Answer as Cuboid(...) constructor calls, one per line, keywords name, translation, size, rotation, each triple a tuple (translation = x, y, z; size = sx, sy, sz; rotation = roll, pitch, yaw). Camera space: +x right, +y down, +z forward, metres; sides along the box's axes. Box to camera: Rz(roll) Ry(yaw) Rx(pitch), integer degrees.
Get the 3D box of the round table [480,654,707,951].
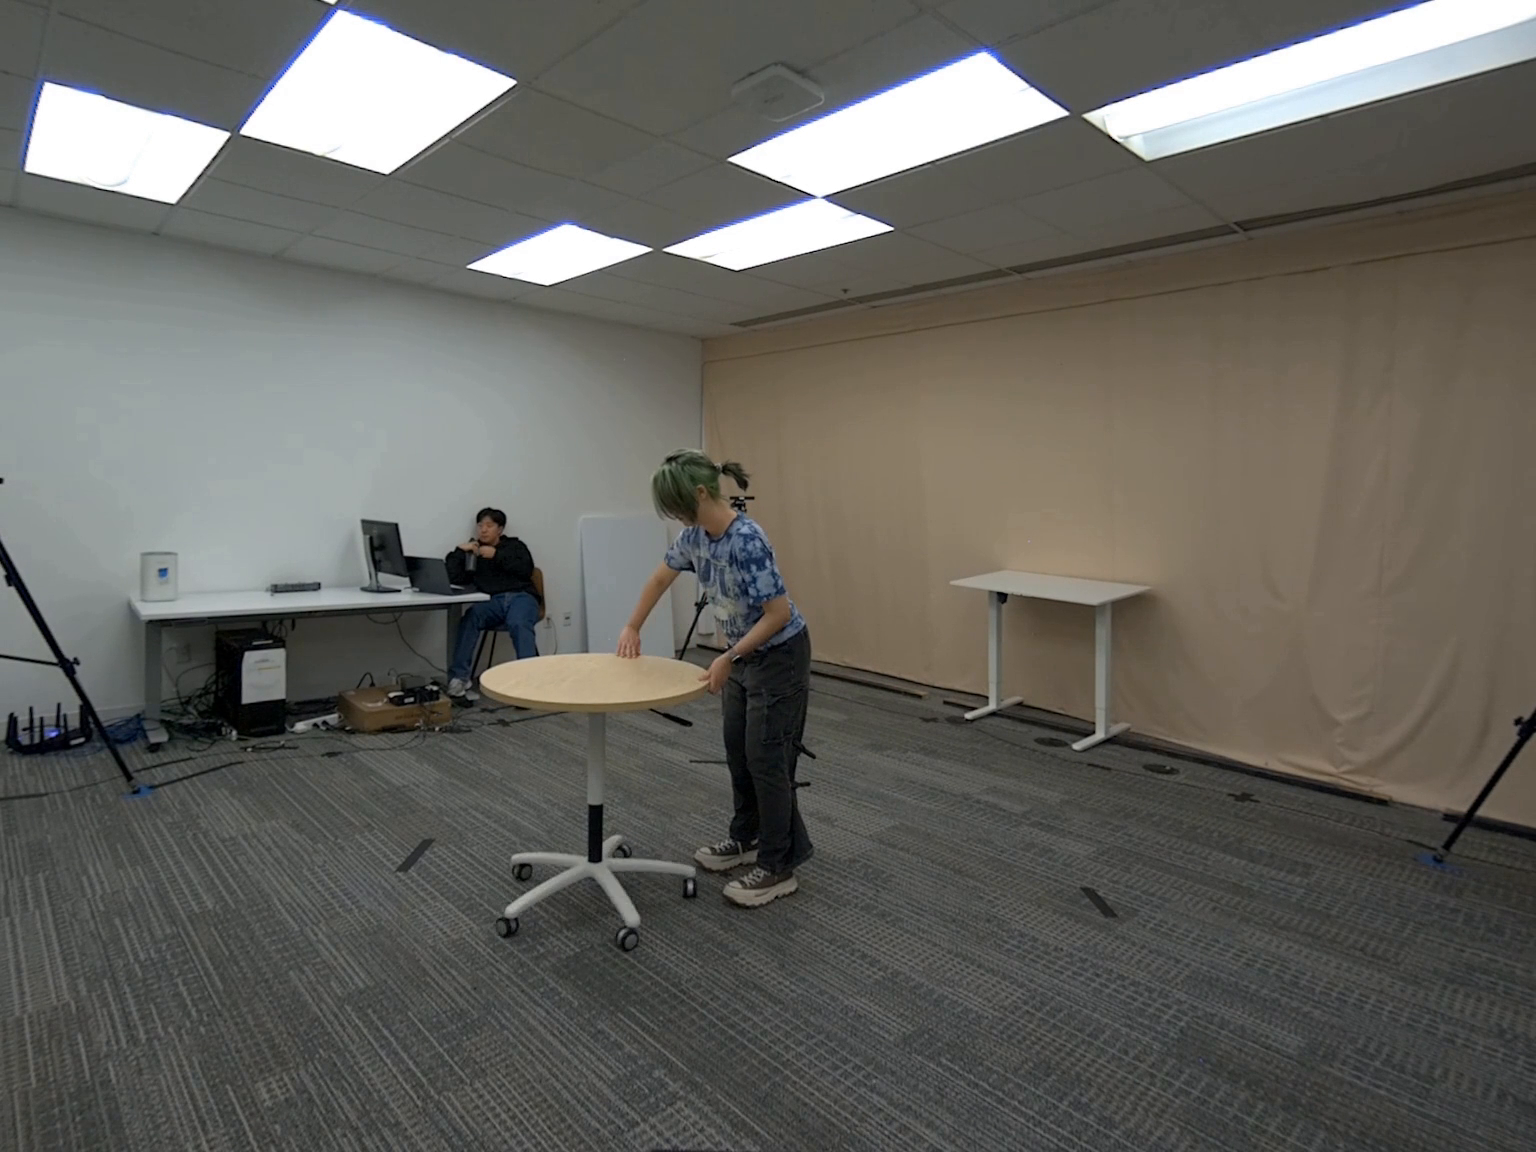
Cuboid(name="round table", translation=(-0.589, 0.729, 2.856), size=(0.763, 0.791, 0.767), rotation=(1, 5, -1))
